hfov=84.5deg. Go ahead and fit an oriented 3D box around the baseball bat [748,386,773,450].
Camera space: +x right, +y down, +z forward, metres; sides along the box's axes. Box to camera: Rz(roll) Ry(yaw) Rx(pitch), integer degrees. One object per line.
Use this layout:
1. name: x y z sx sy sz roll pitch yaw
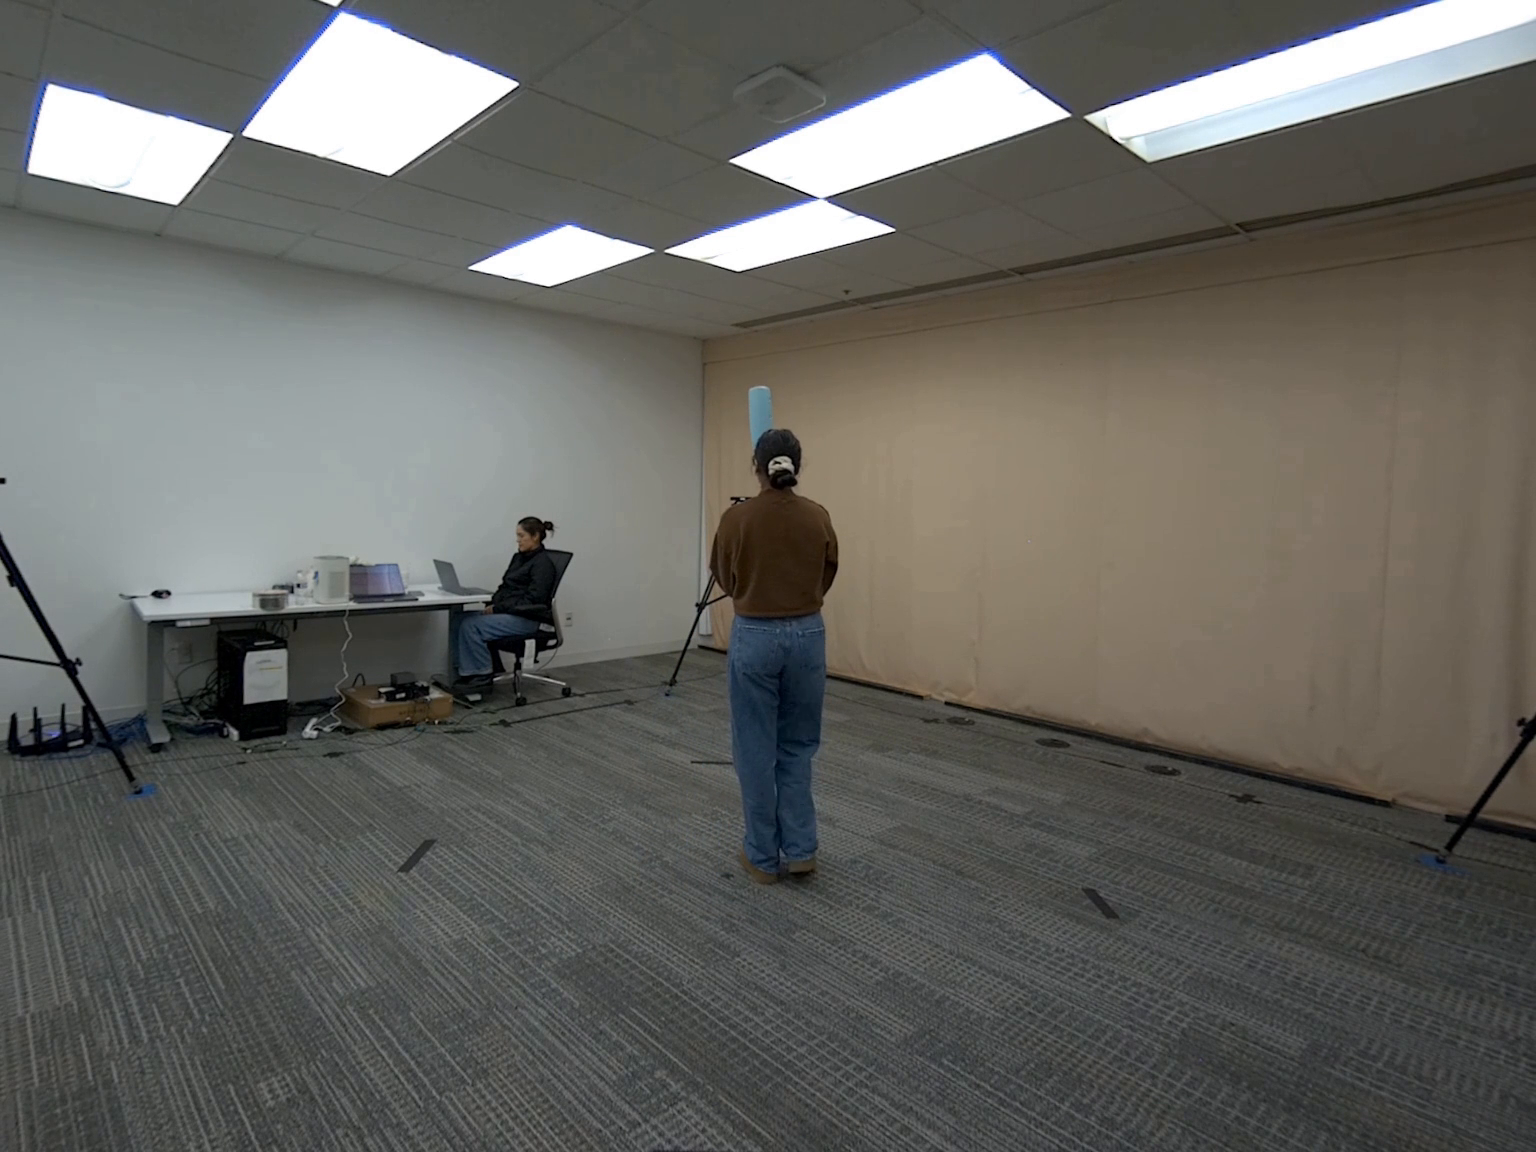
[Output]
1. baseball bat: -0.023 -0.469 3.273 0.089 0.545 0.089 -3 -5 -2
